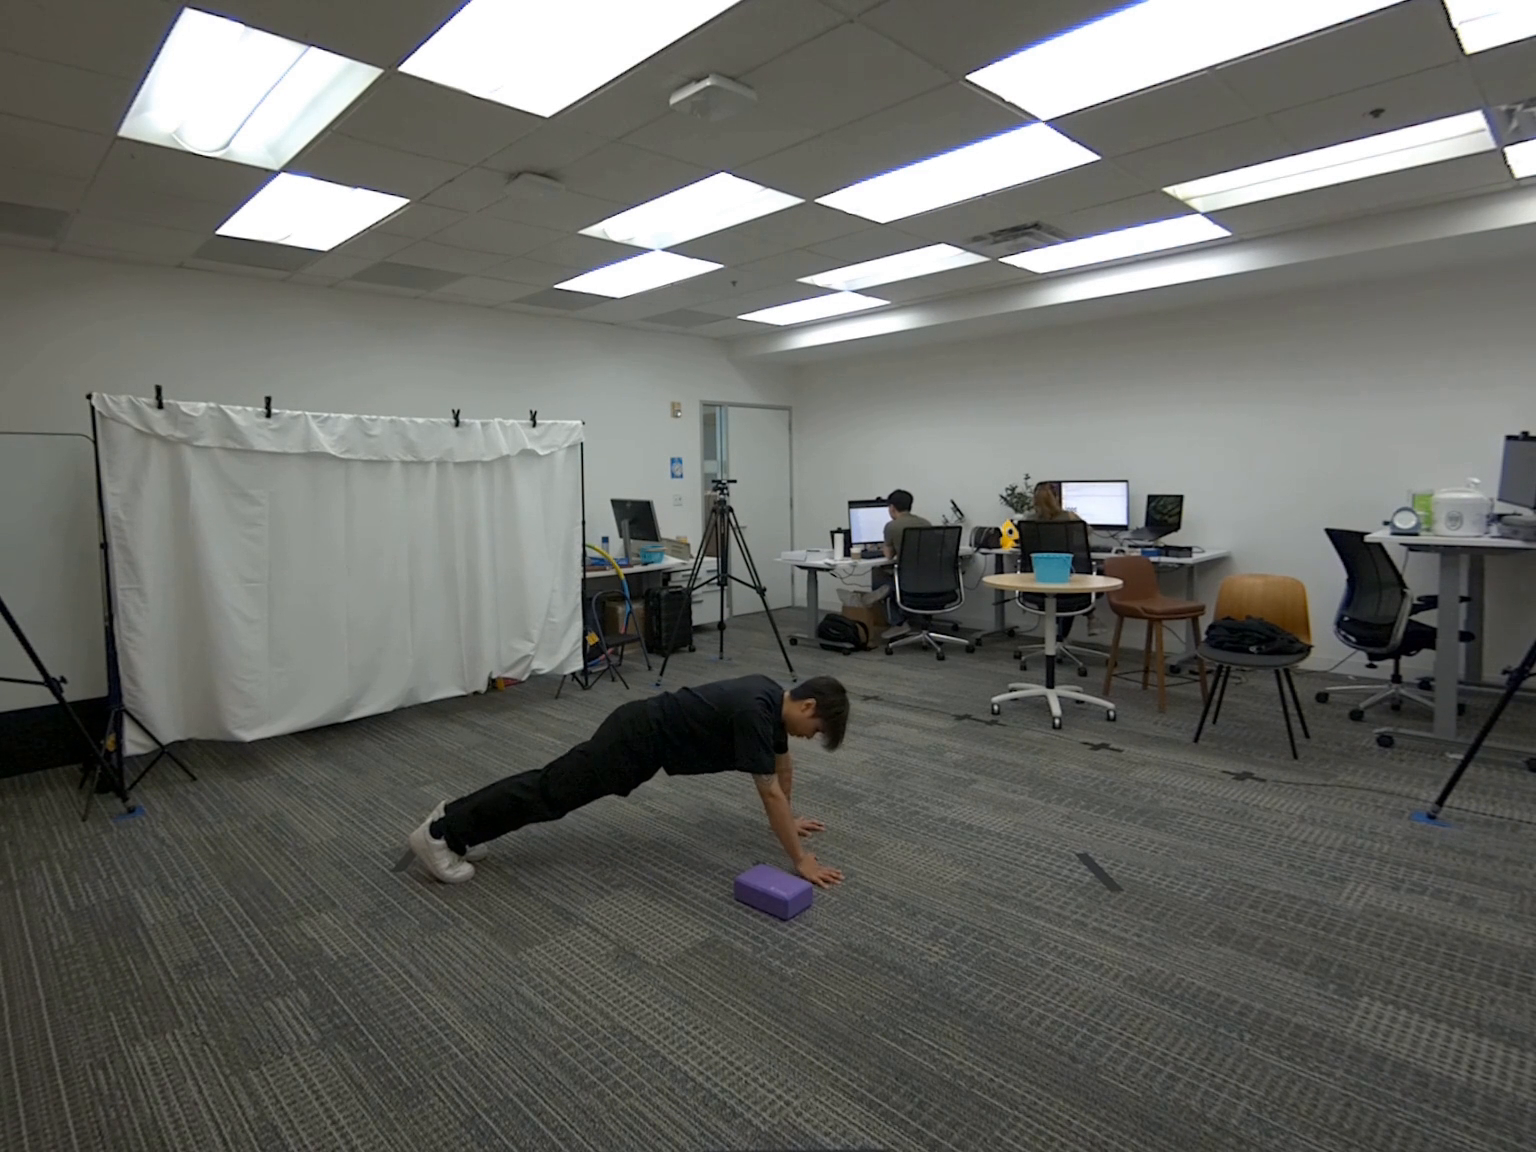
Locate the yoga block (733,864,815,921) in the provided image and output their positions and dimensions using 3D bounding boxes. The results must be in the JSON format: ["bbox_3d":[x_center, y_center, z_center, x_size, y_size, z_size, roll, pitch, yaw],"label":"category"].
[{"bbox_3d":[0.023,1.040,2.822,0.236,0.076,0.145,5,8,41],"label":"yoga block"}]
